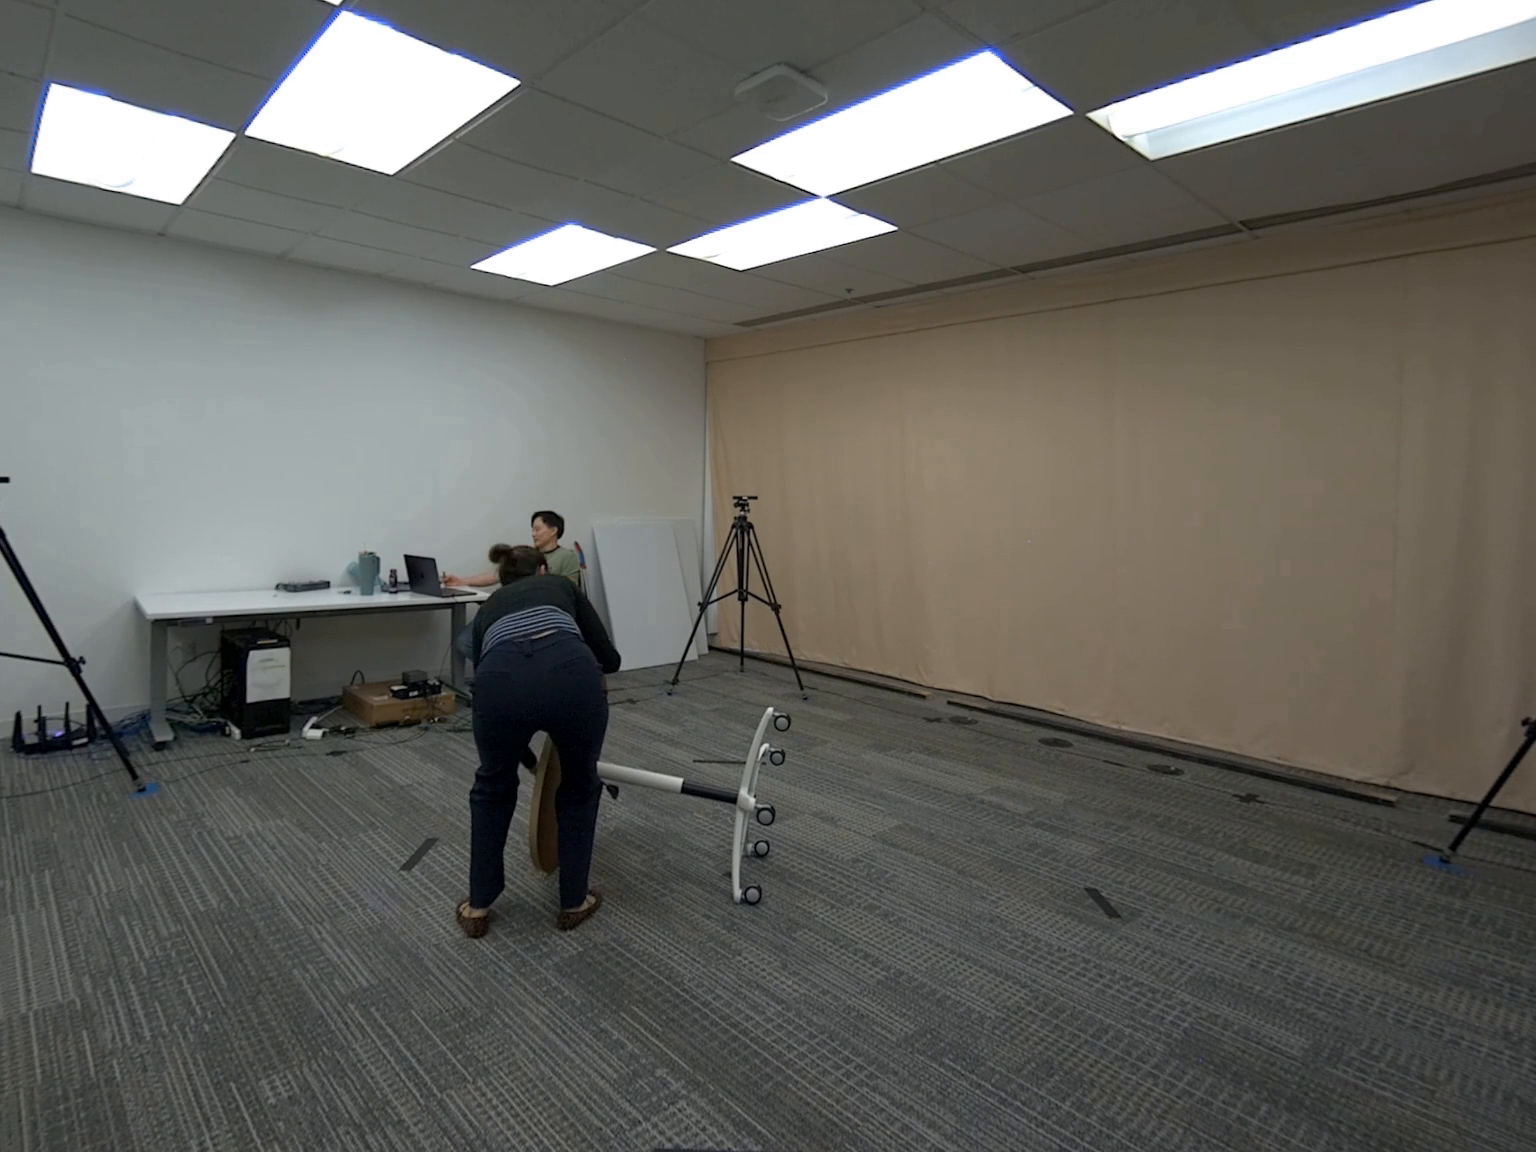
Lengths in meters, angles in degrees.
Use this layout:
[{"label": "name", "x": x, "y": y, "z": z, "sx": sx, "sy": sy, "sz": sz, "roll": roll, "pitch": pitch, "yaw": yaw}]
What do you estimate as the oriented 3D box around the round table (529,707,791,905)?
[{"label": "round table", "x": -0.361, "y": 0.775, "z": 3.097, "sx": 0.798, "sy": 0.762, "sz": 0.762, "roll": 9, "pitch": 5, "yaw": 5}]
